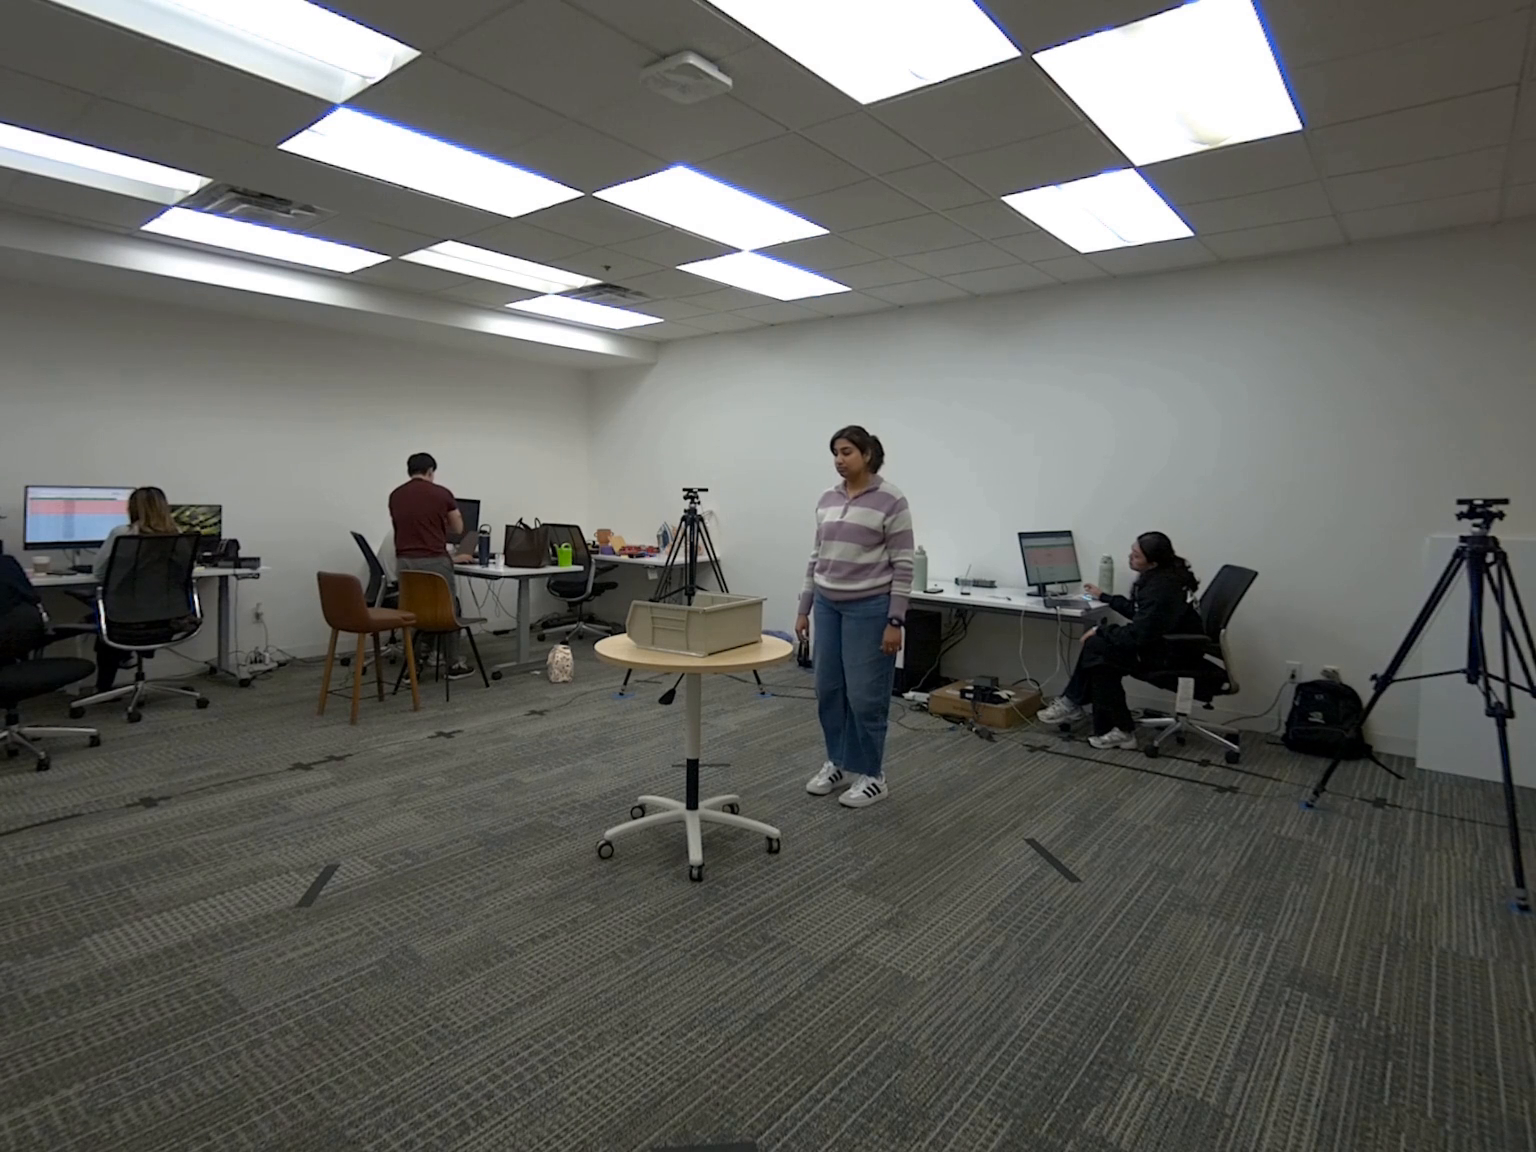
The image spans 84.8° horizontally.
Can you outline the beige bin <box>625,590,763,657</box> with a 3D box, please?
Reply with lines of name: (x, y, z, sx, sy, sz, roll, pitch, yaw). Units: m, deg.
beige bin: (-0.286, 0.176, 3.315, 0.389, 0.188, 0.411, 6, 7, 32)
